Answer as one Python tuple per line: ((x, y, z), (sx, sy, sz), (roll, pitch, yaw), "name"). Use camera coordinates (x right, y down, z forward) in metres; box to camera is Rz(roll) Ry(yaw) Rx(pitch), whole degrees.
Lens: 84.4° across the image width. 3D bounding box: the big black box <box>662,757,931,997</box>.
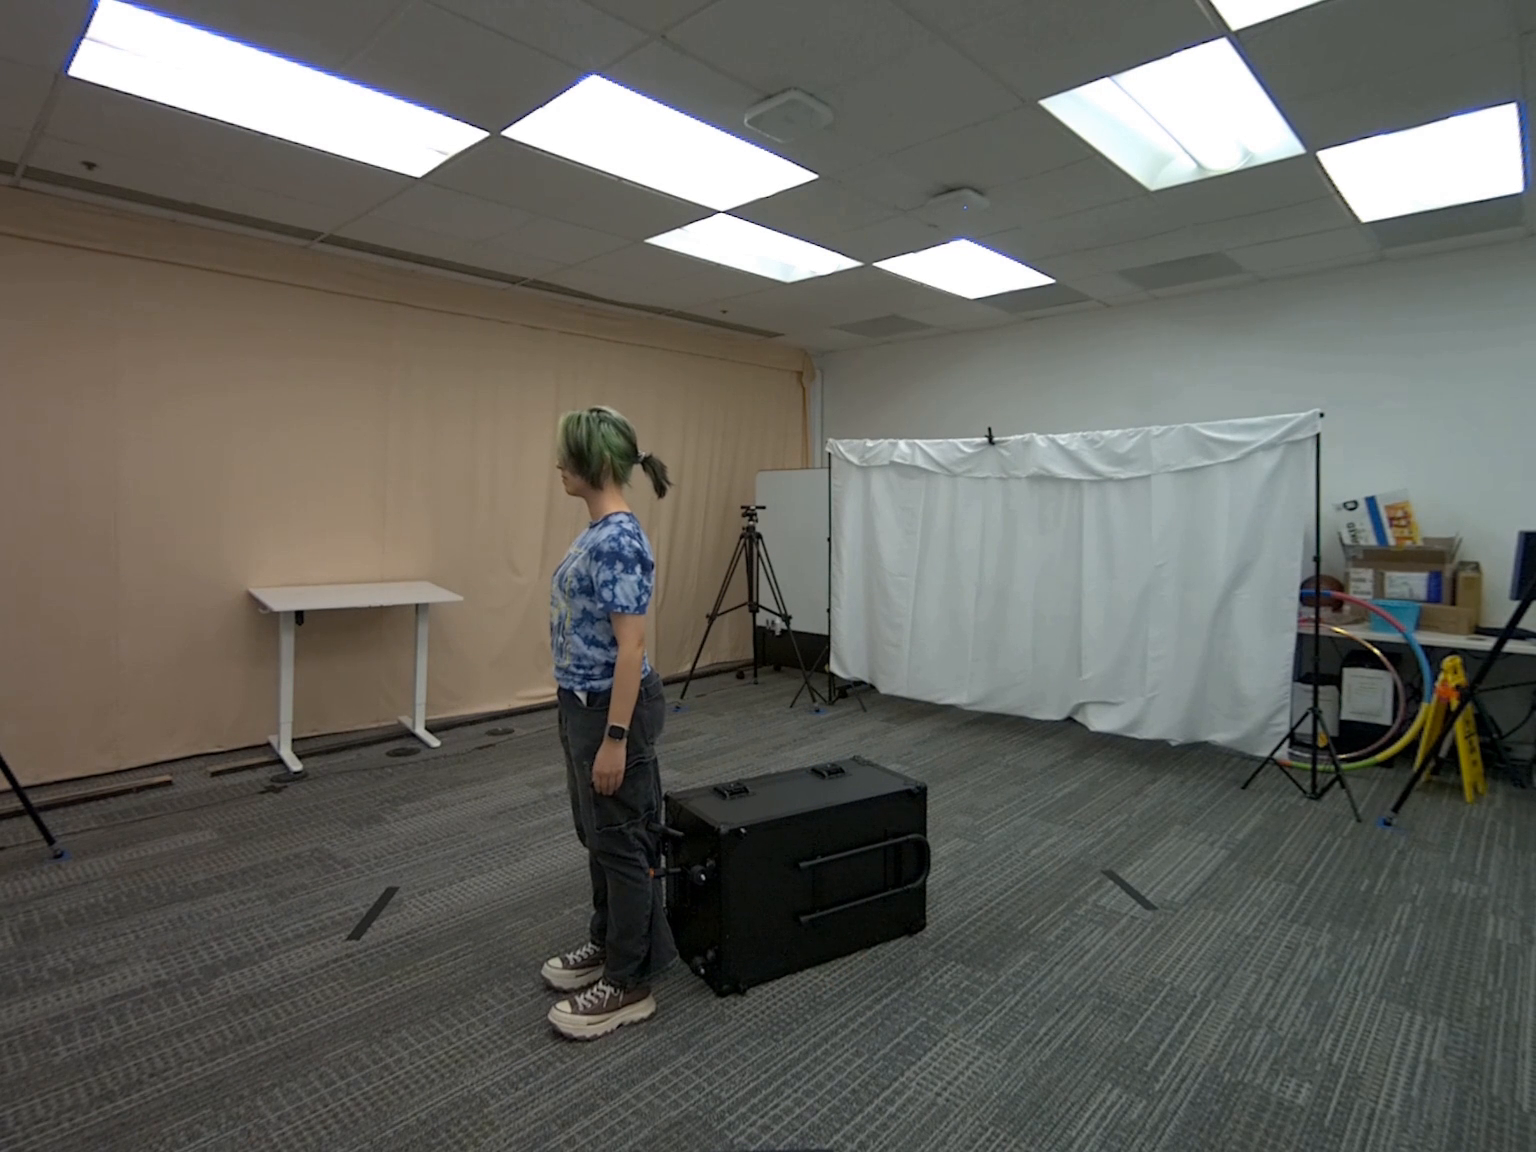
((0.082, 0.924, 2.686), (0.839, 0.520, 0.408), (-3, 4, -30), "big black box")
